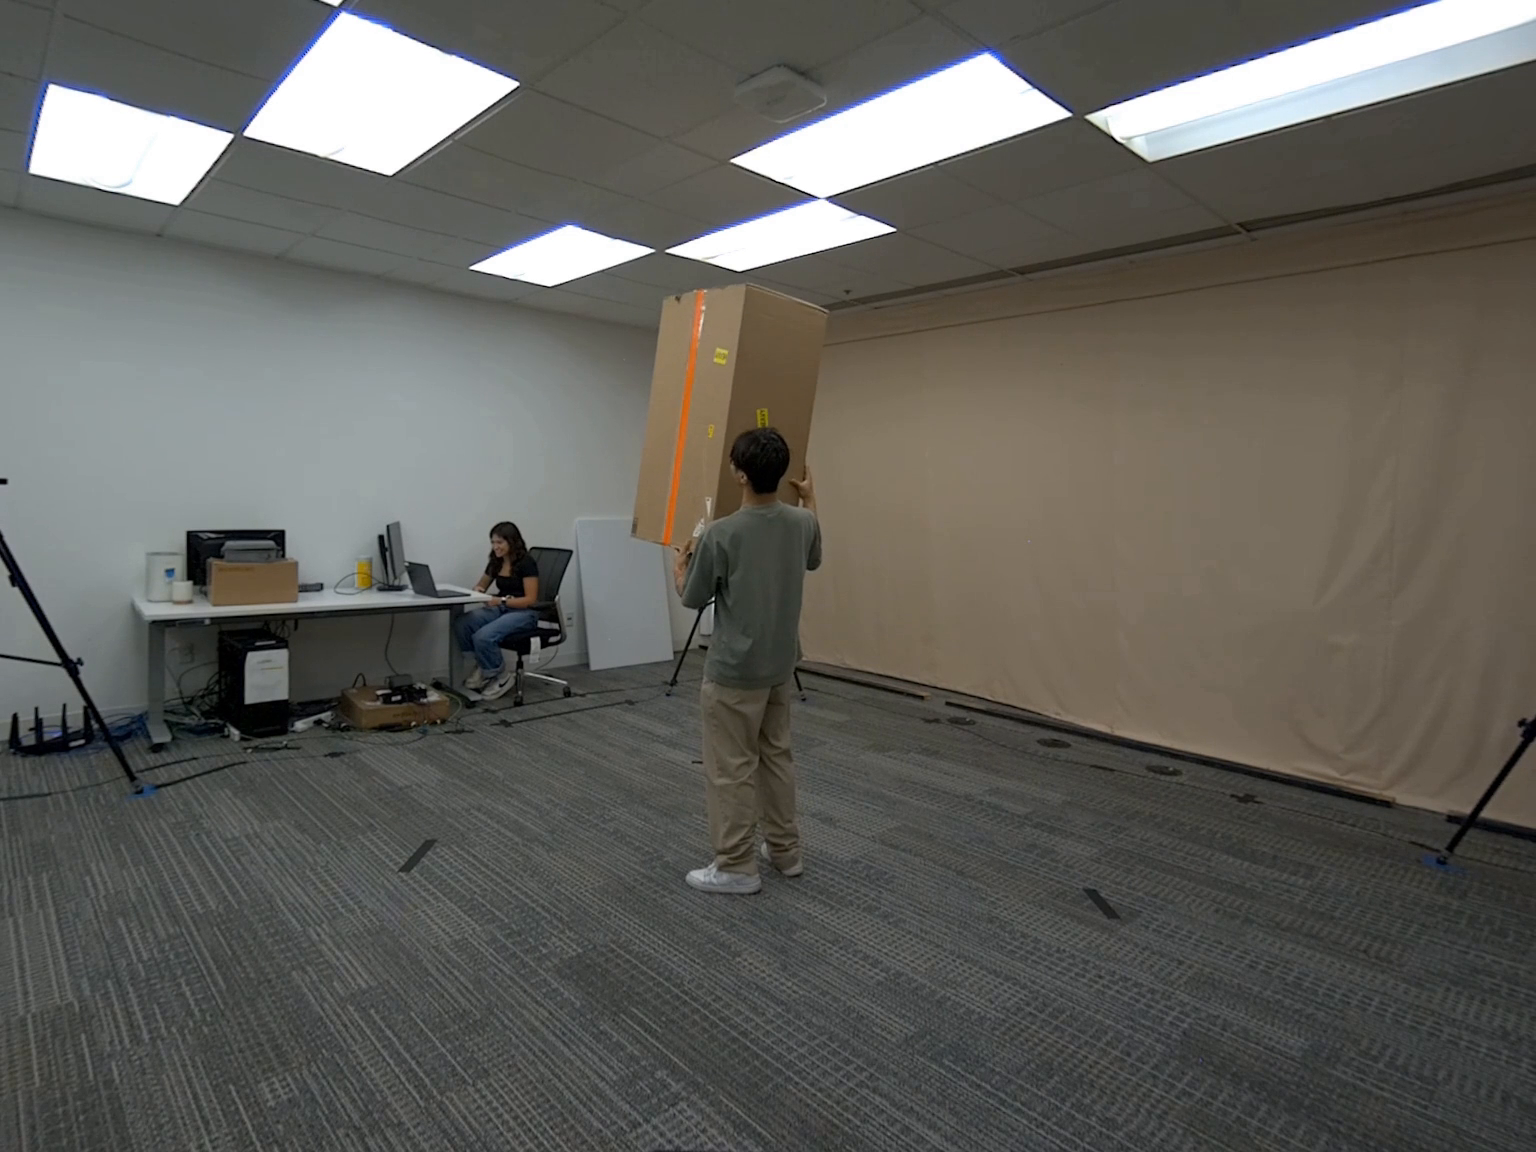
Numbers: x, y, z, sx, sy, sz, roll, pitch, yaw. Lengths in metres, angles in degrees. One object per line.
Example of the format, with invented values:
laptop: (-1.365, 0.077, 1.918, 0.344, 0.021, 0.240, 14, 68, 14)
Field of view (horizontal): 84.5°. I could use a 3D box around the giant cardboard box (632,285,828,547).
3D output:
giant cardboard box: (-0.180, -0.605, 3.468, 0.415, 1.023, 0.593, 5, 5, -40)
